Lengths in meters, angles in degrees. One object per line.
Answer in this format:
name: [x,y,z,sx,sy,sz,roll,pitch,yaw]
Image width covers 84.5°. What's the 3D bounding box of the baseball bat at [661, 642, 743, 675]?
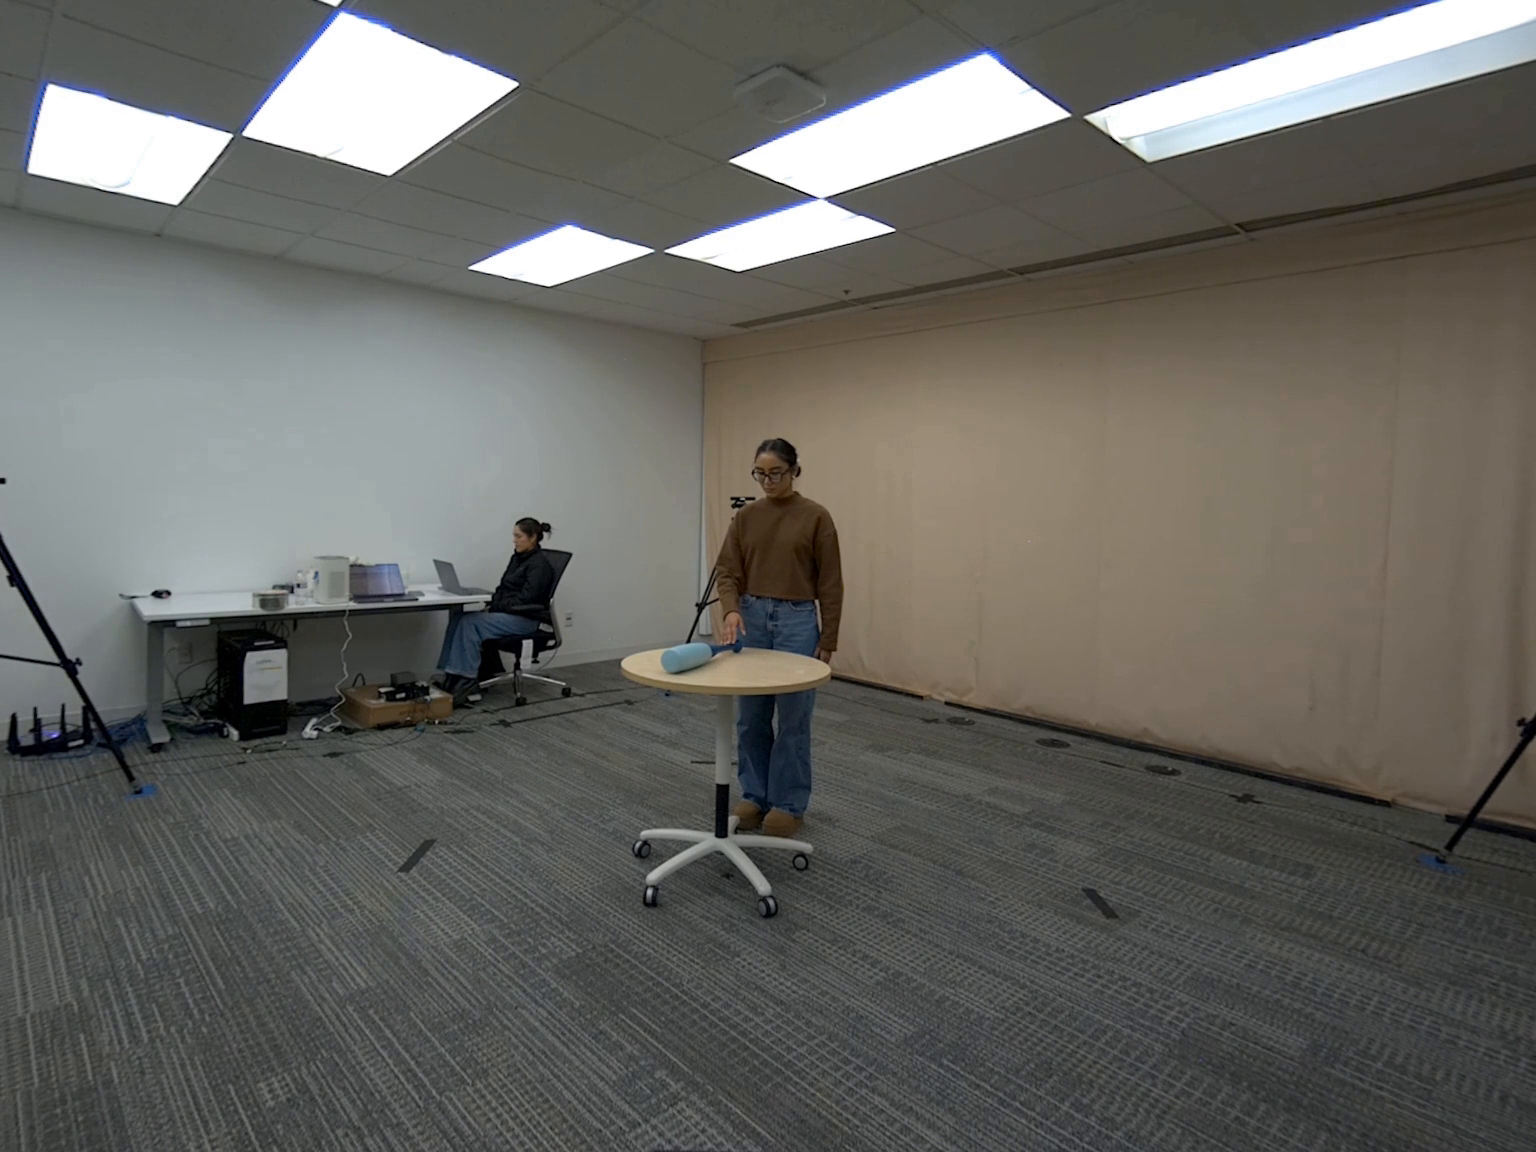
baseball bat: [-0.232,0.289,3.104,0.091,0.089,0.533,3,2,23]
